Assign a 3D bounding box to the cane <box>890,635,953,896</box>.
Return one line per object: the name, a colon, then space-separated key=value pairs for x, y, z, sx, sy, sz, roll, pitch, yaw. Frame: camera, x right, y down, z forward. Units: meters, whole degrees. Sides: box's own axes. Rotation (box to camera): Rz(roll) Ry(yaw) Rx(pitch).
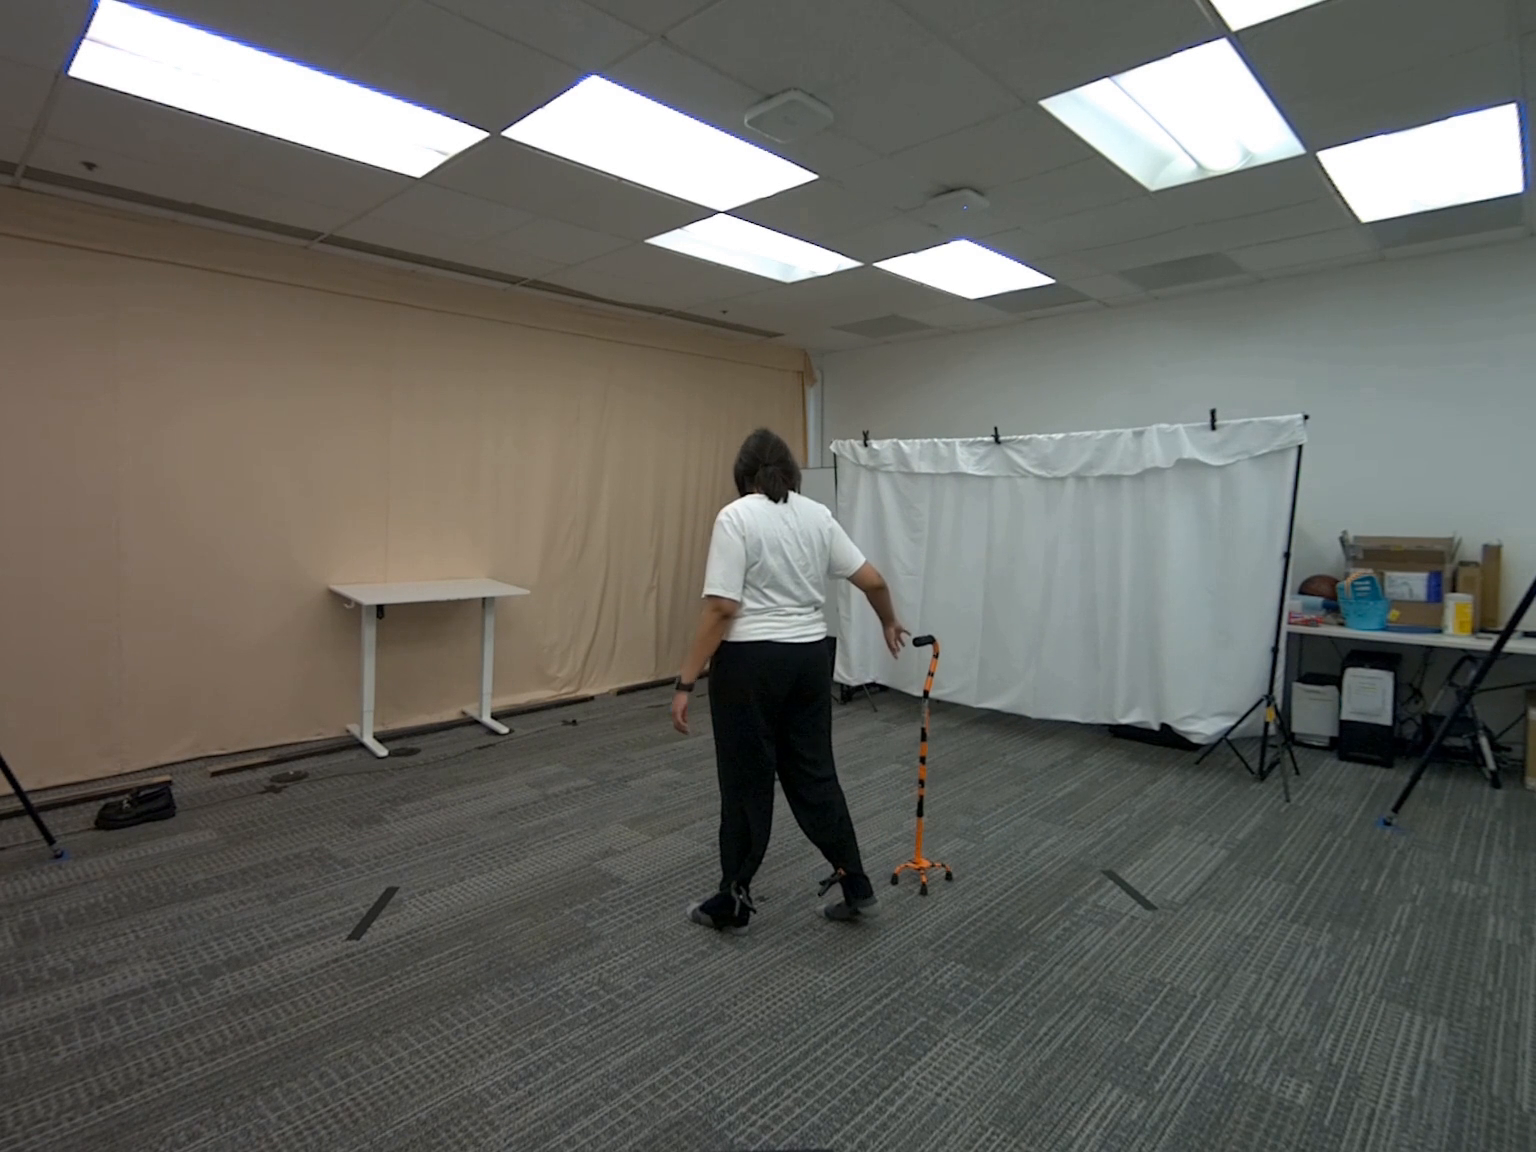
cane: x=0.581 y=0.677 z=3.096 sx=0.157 sy=0.906 sz=0.200 roll=3 pitch=3 yaw=42
